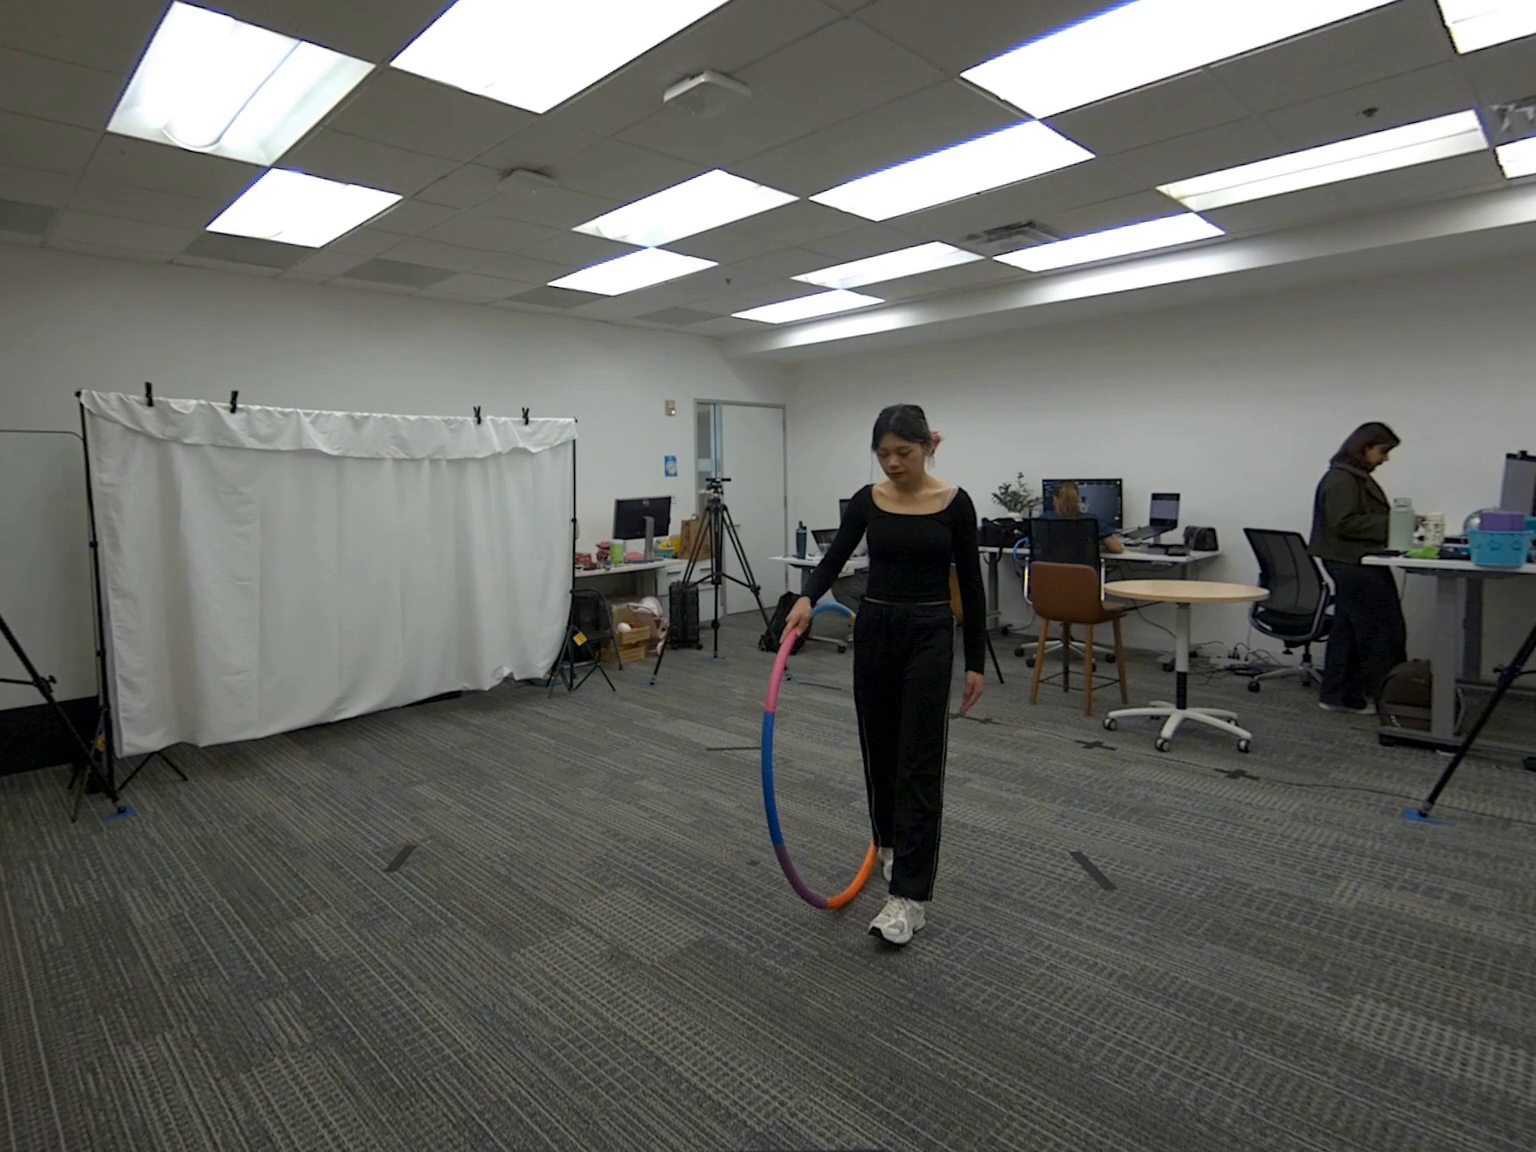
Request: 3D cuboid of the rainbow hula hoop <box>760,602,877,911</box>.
[{"bbox_3d":[0.225,0.577,2.852,0.036,0.979,0.957,-7,1,29],"label":"rainbow hula hoop"}]
